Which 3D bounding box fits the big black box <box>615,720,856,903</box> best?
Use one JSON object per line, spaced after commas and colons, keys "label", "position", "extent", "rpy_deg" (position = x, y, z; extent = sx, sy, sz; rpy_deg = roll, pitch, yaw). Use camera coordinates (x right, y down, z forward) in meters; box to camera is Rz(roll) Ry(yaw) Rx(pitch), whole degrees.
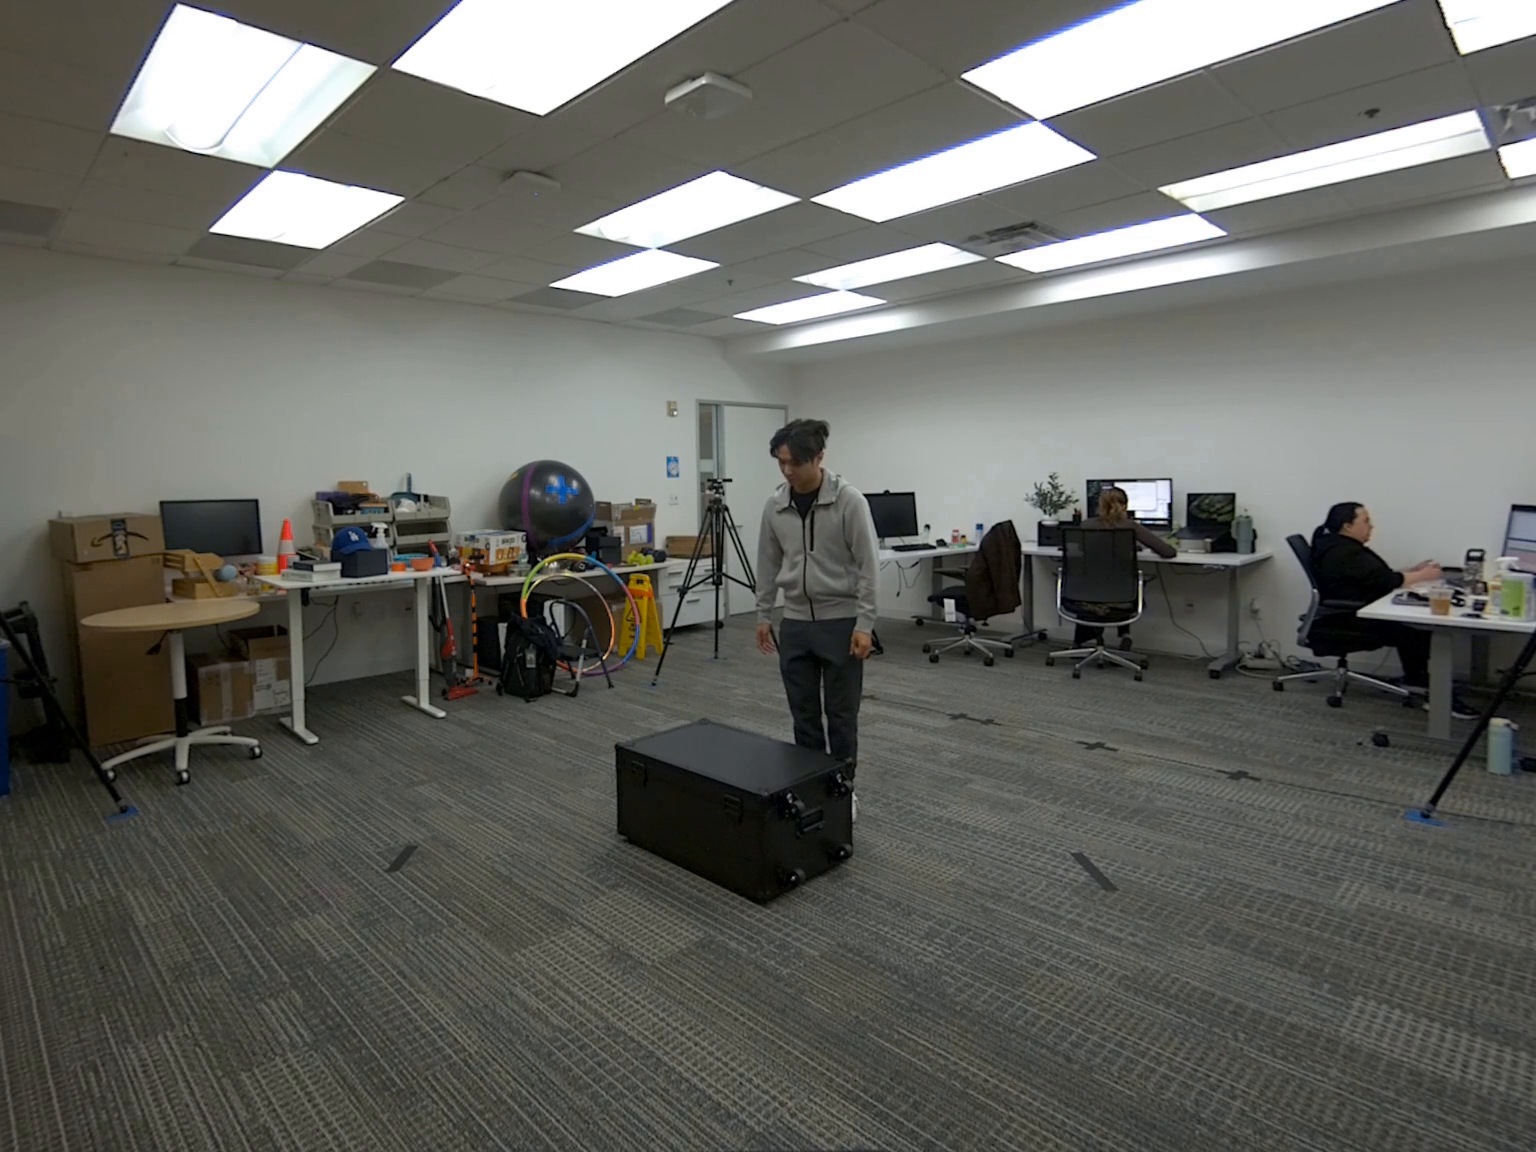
{"label": "big black box", "position": [-0.118, 0.848, 3.184], "extent": [0.888, 0.395, 0.507], "rpy_deg": [4, 7, 43]}
